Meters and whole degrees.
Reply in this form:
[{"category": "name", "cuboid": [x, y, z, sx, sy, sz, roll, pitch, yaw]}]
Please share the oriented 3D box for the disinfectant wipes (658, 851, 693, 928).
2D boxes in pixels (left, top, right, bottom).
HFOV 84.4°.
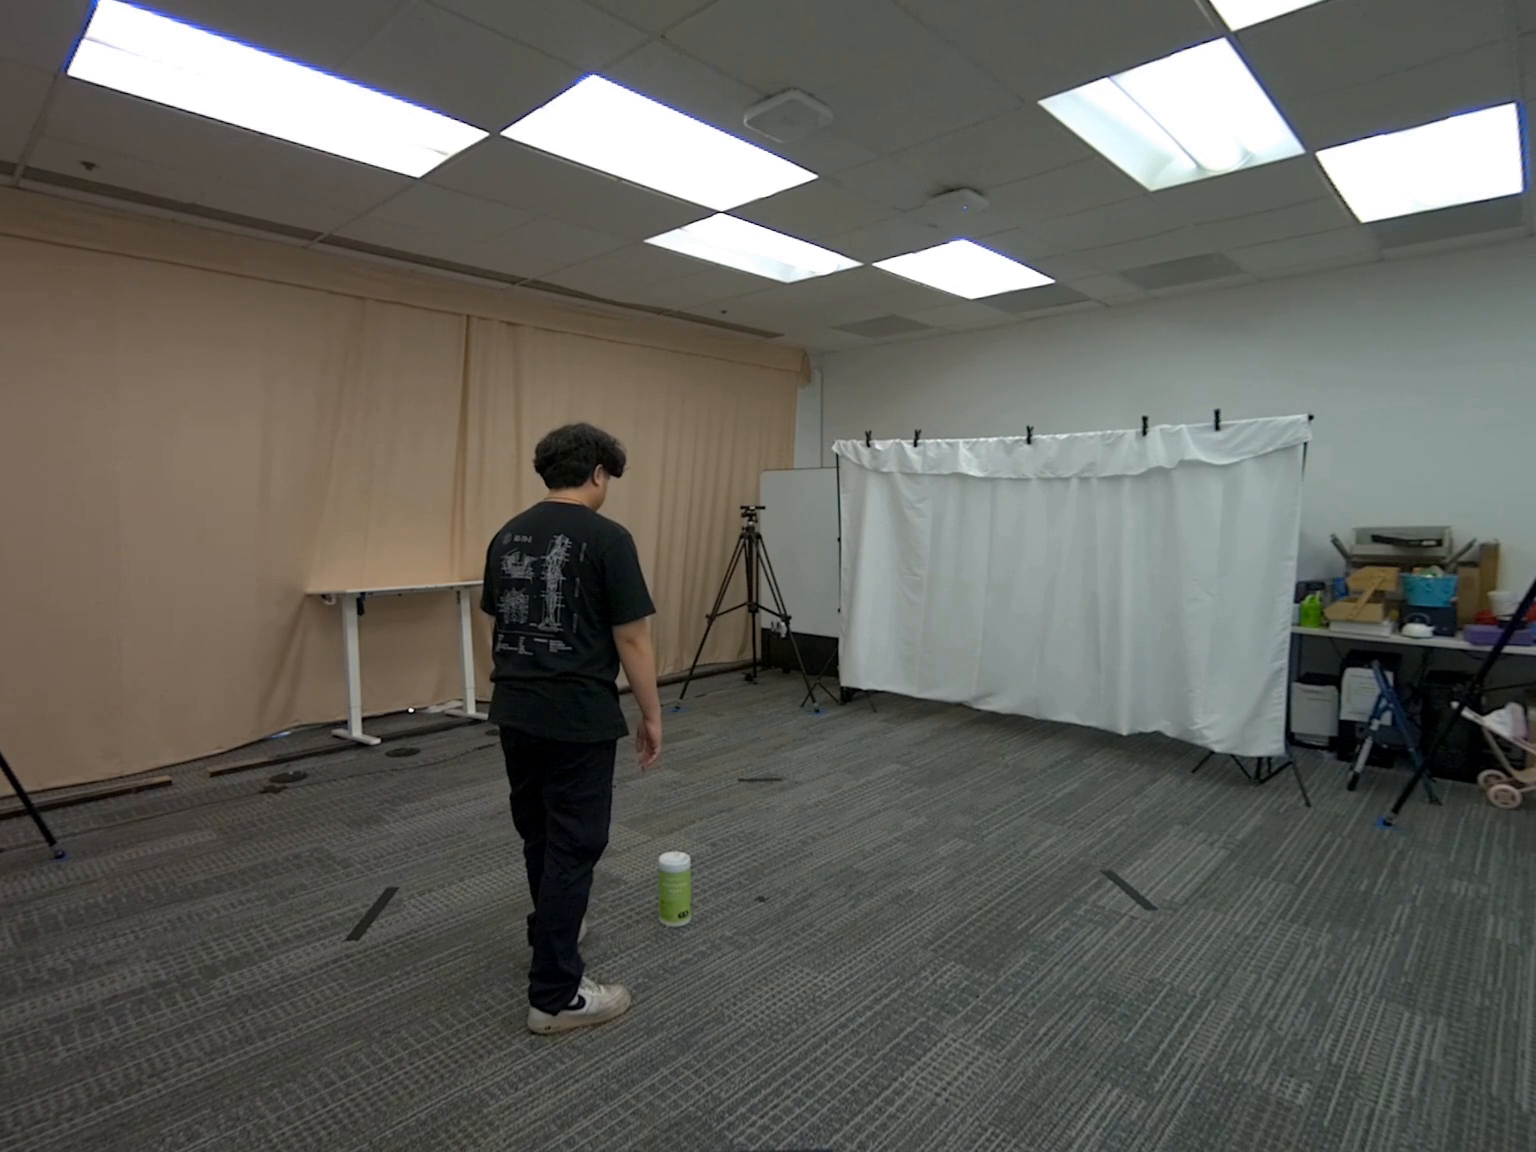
[{"category": "disinfectant wipes", "cuboid": [-0.316, 1.051, 2.826, 0.118, 0.217, 0.118, 0, 2, -2]}]
